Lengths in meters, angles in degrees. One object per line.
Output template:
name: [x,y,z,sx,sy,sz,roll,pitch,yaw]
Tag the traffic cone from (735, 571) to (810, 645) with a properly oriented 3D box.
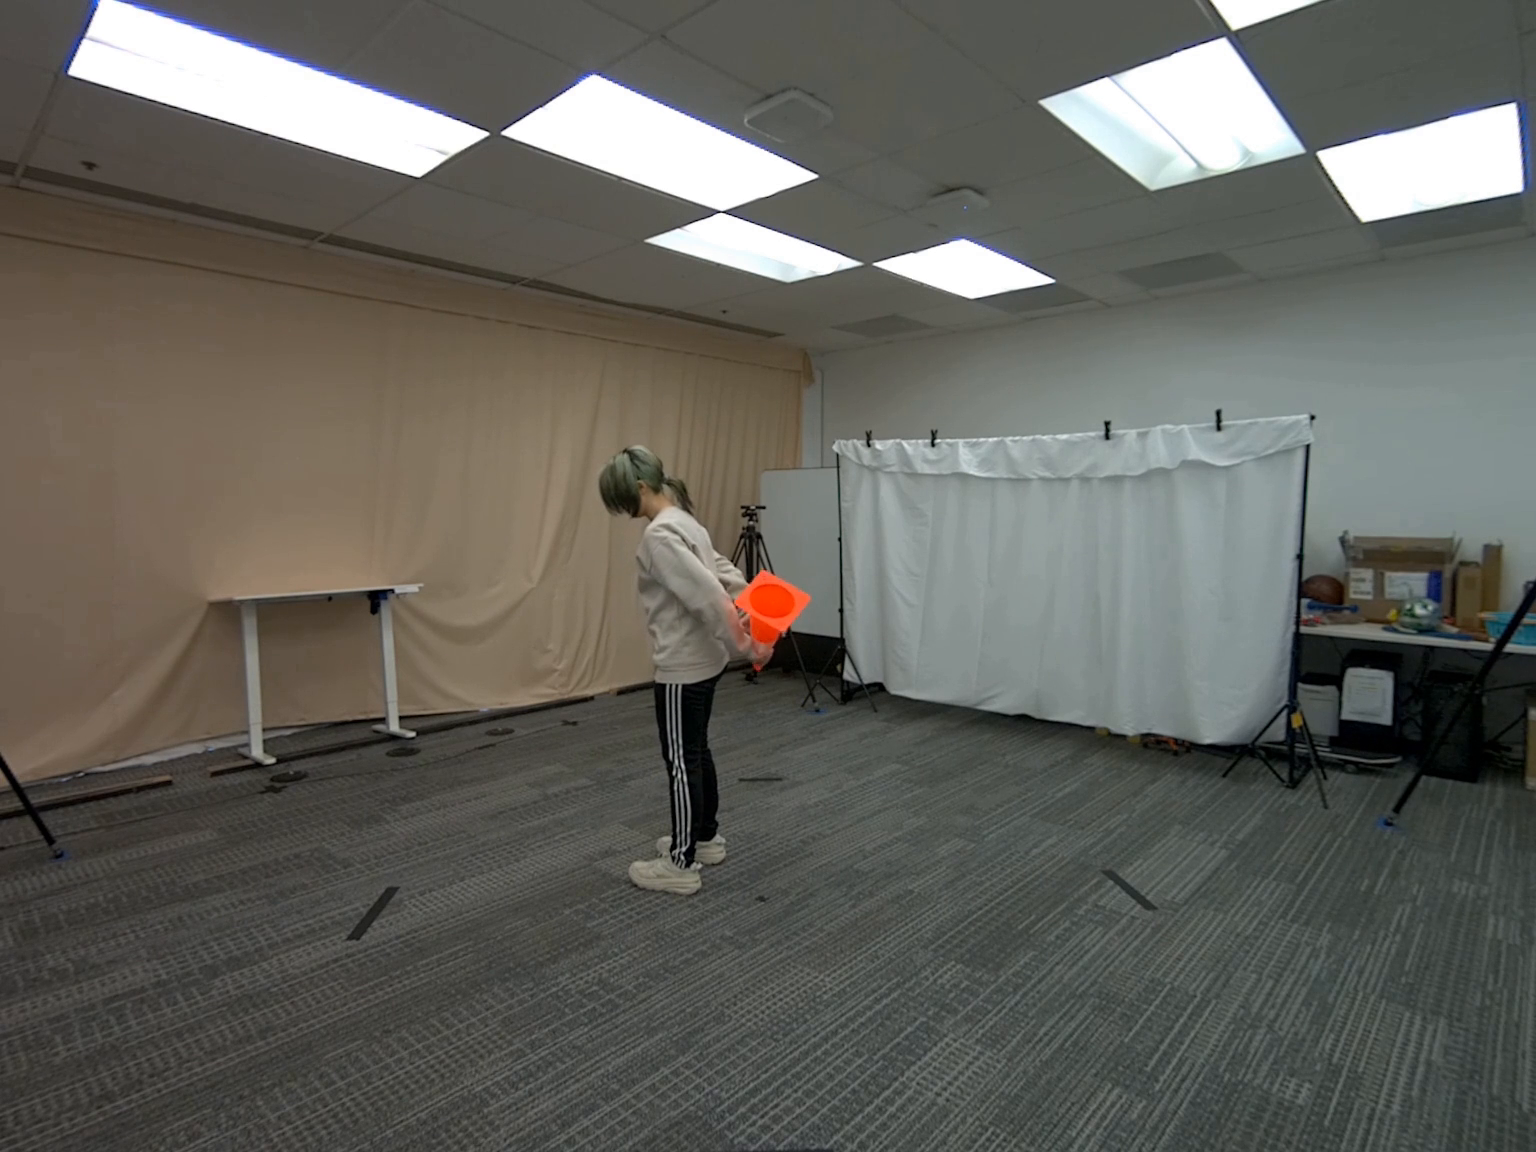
traffic cone: [-0.016,0.223,2.962,0.208,0.379,0.203,29,47,17]
